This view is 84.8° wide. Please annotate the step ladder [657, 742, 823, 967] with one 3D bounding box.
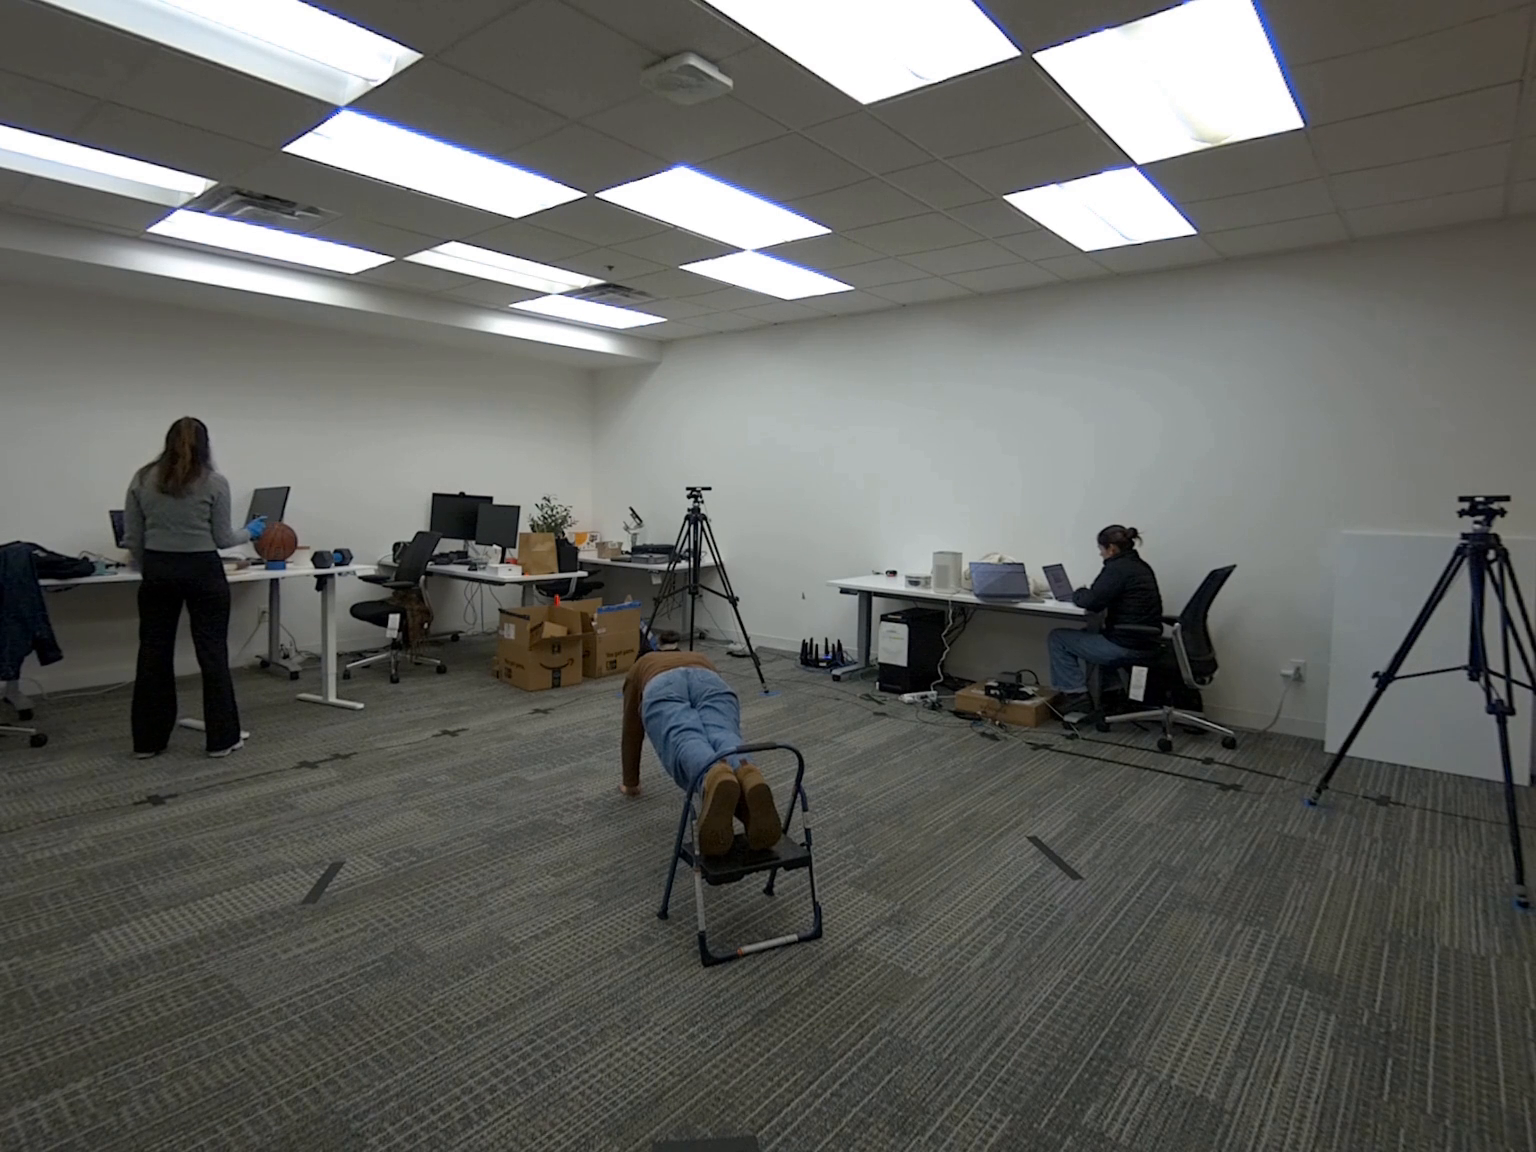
[{"bbox_3d":[-0.093,0.810,2.686,0.419,0.604,0.360,-1,4,-29],"label":"step ladder"}]
